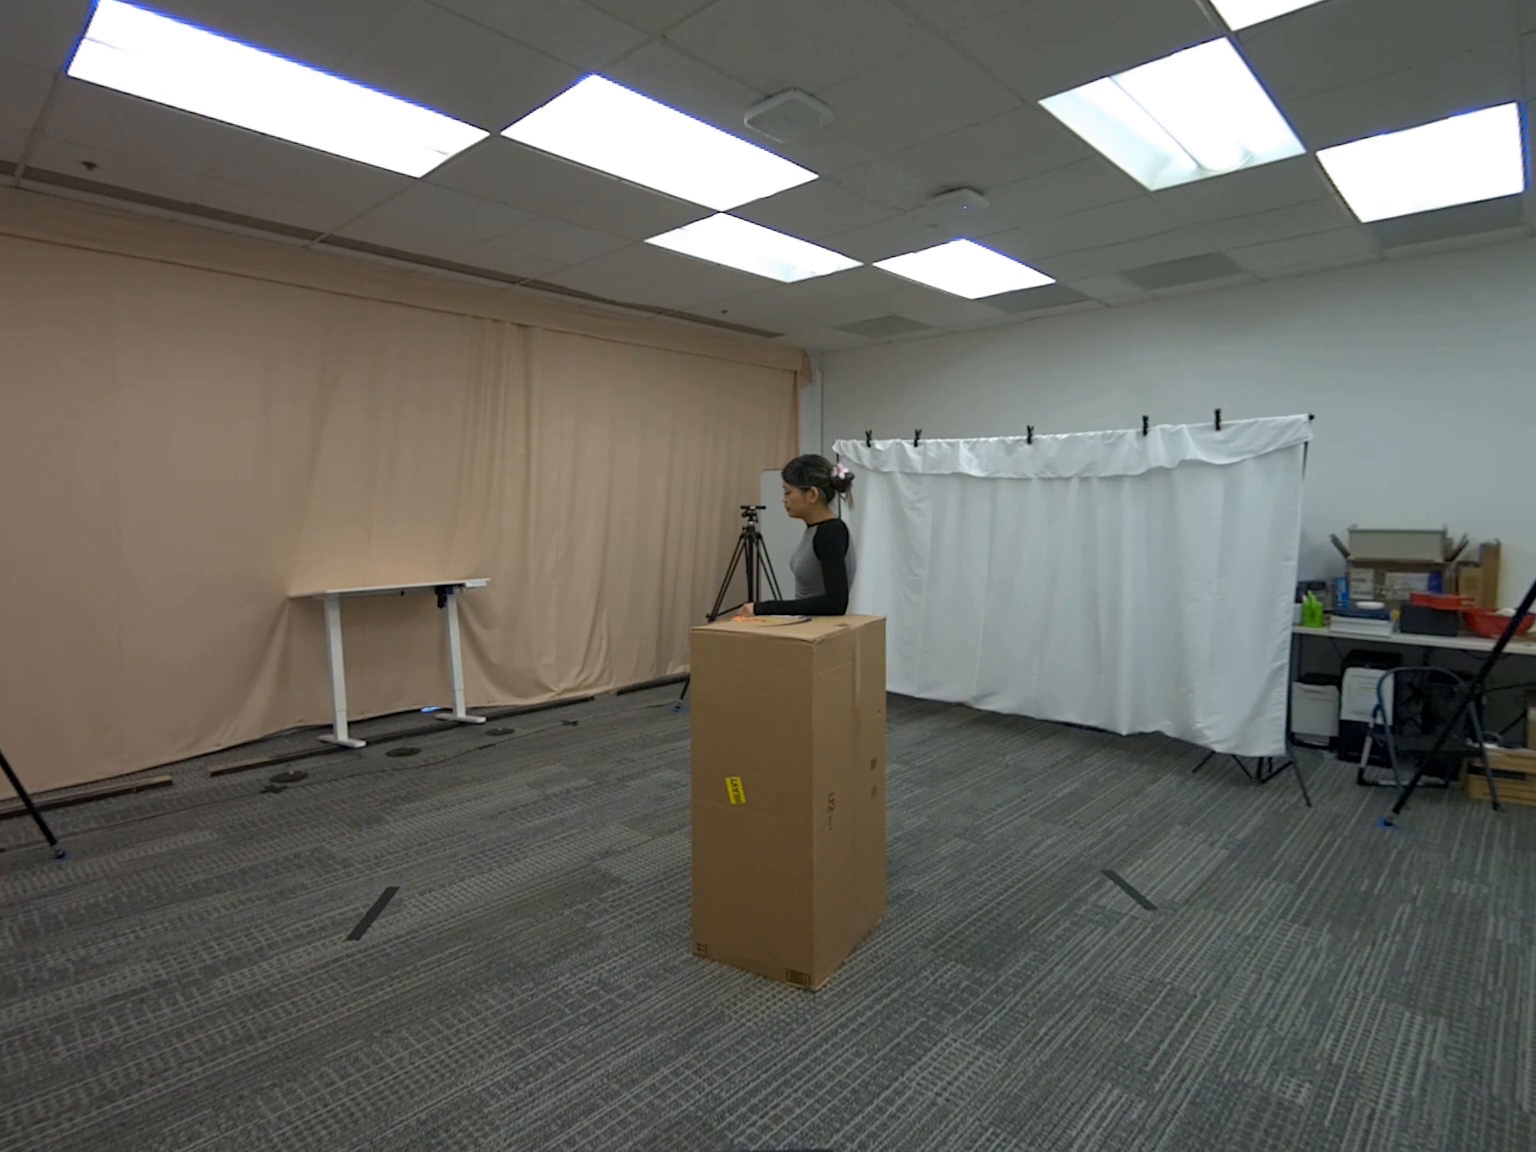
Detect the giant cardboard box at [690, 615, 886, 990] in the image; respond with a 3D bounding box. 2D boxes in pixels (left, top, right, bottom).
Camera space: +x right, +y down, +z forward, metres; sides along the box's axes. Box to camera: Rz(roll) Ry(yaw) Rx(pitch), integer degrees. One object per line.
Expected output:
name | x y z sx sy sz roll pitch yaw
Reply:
giant cardboard box | 0.083 0.657 2.727 0.439 1.024 0.562 2 3 31
